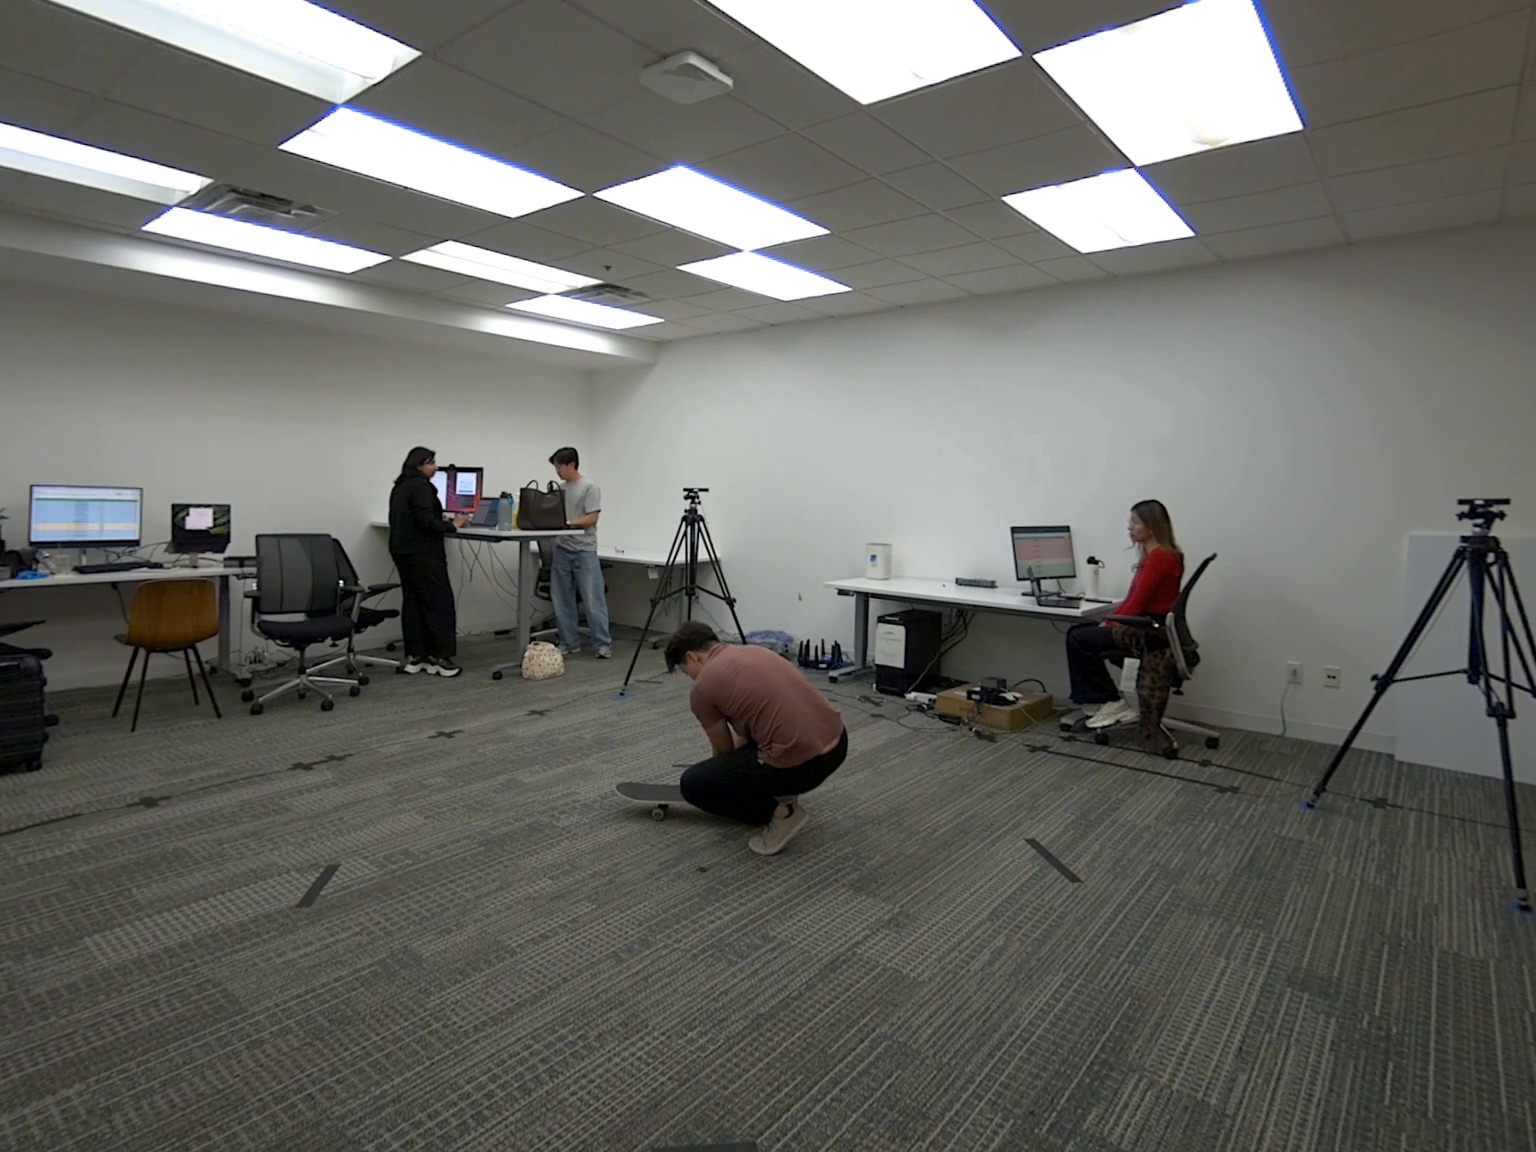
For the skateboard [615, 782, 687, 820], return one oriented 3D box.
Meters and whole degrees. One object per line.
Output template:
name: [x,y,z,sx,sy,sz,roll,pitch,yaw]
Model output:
skateboard: [-0.277,0.958,3.618,0.788,0.110,0.194,1,6,3]
